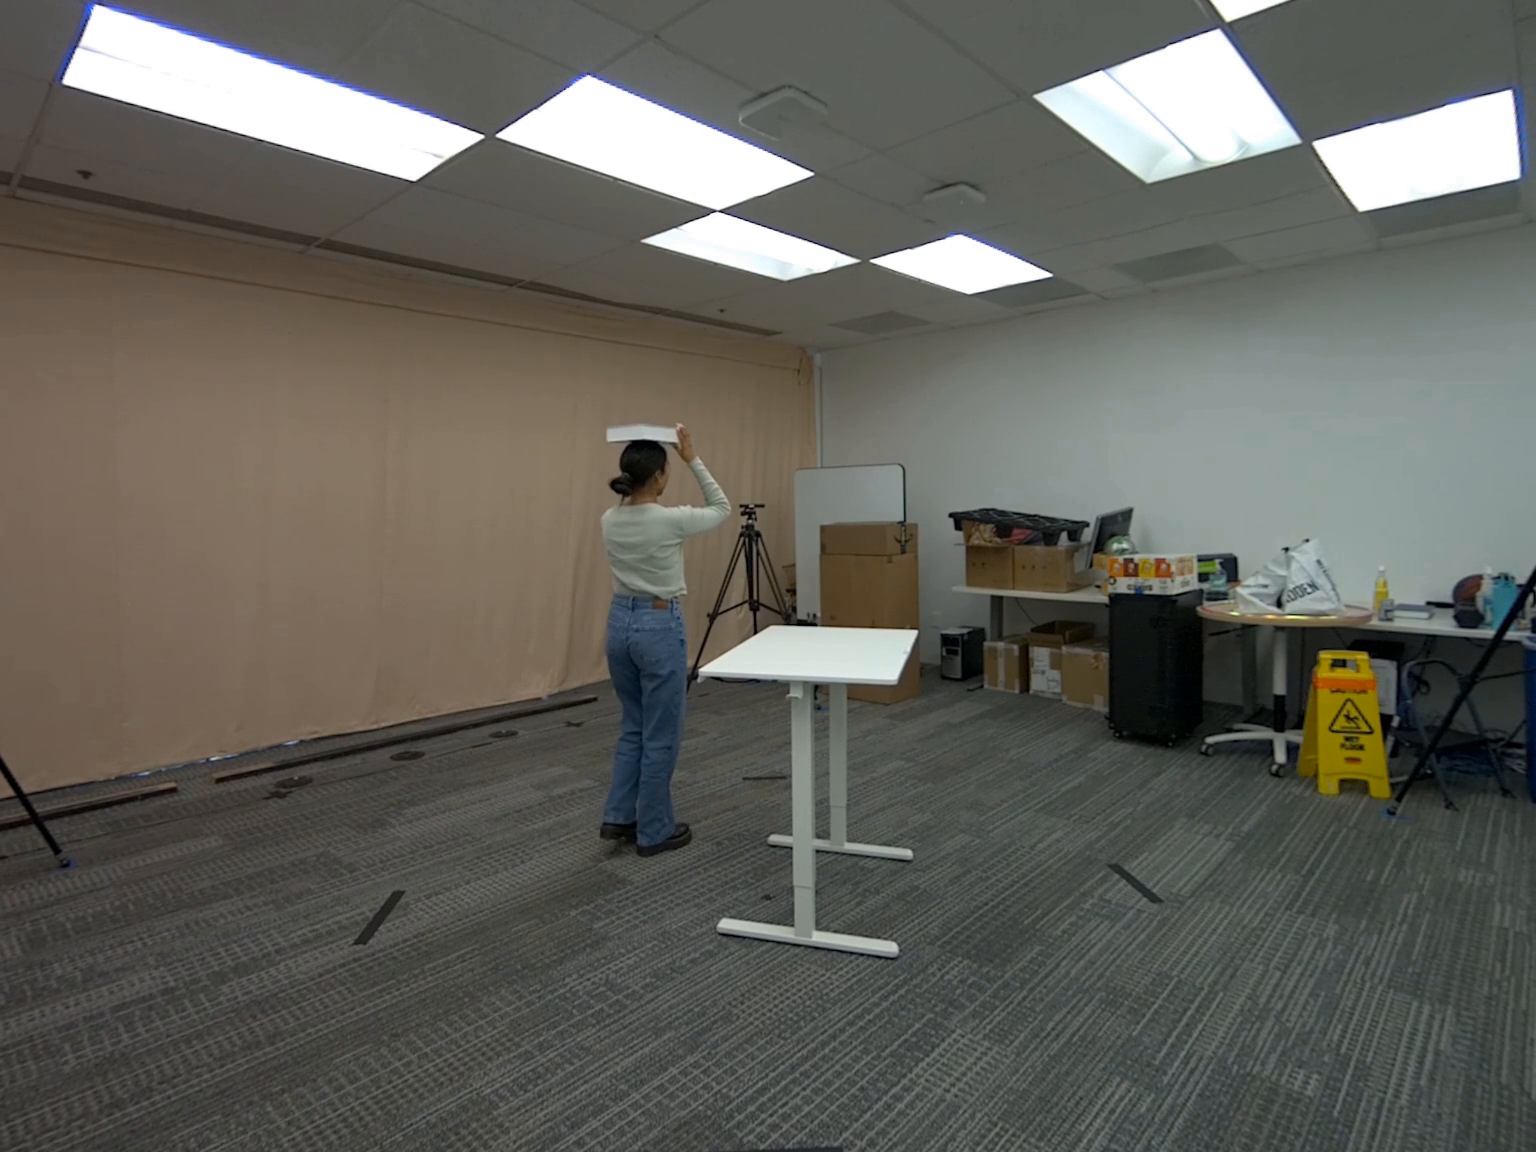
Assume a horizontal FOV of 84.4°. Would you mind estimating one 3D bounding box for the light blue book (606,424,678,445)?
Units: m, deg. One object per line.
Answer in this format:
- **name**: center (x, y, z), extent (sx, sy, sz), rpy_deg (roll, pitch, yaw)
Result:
- **light blue book**: center (-0.490, -0.561, 3.356), extent (0.197, 0.059, 0.254), rpy_deg (1, 5, 33)
